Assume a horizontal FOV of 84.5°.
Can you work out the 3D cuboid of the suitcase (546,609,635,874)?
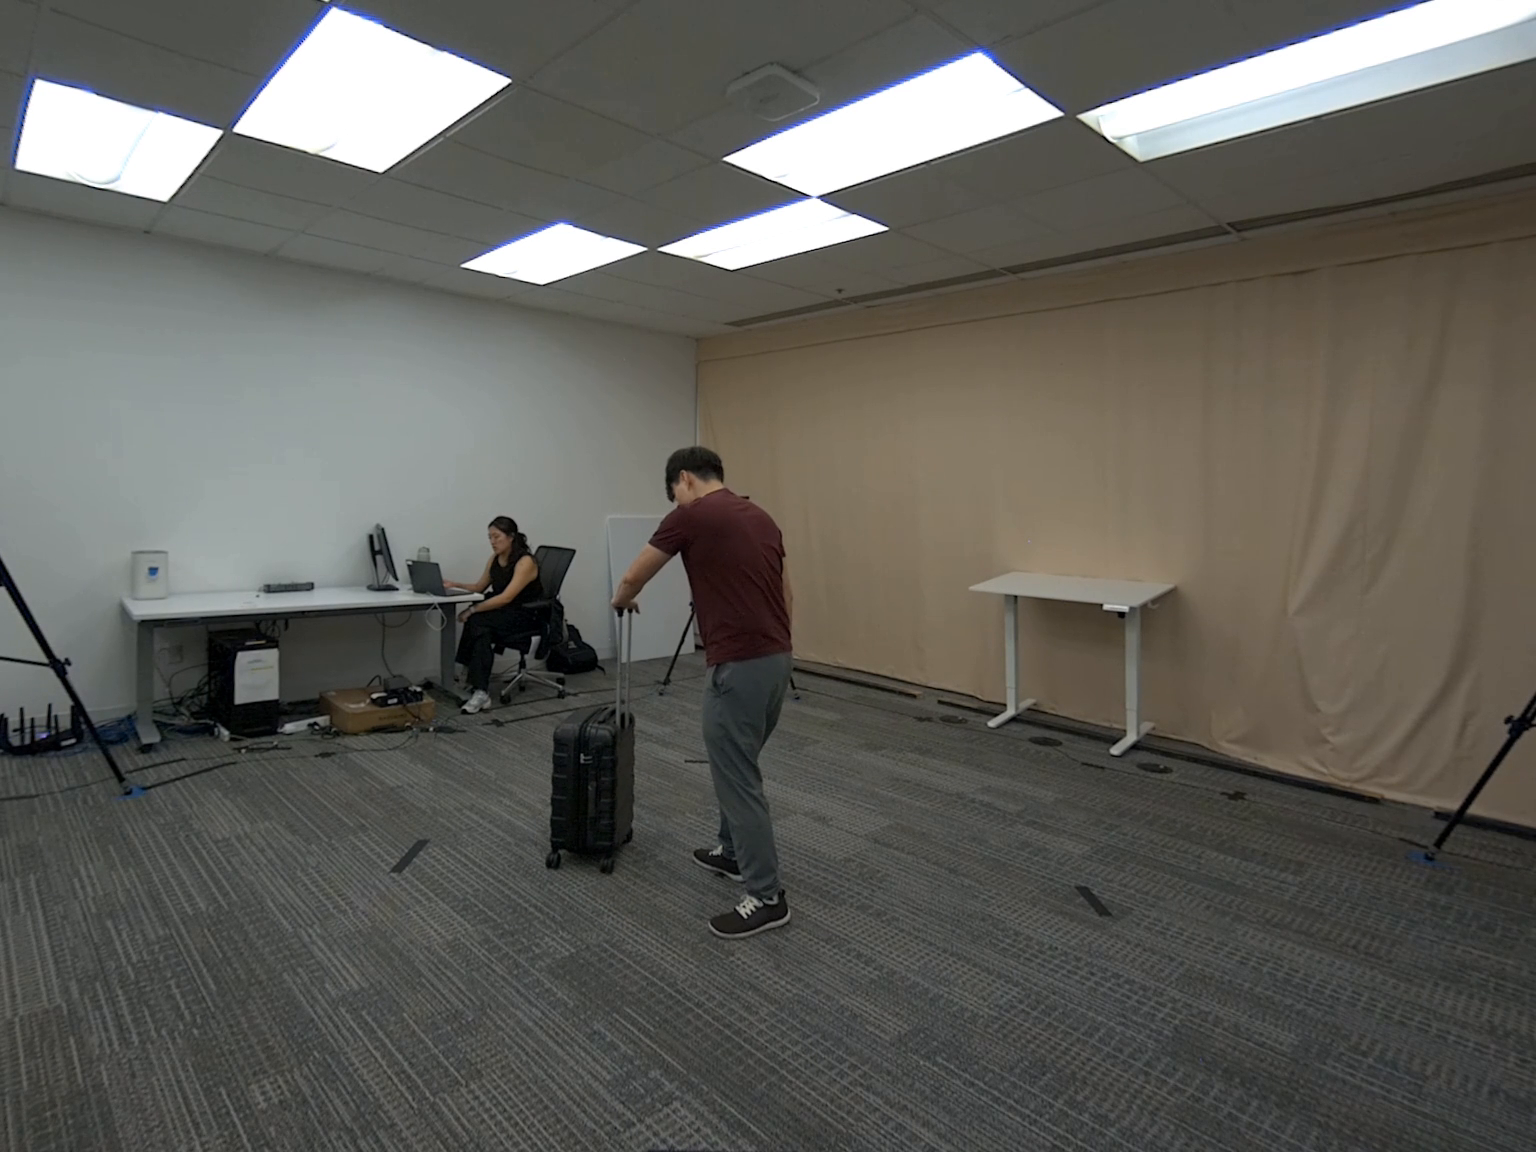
[{"bbox_3d":[-0.678,0.599,3.263,0.258,0.978,0.383,0,1,3],"label":"suitcase"}]
